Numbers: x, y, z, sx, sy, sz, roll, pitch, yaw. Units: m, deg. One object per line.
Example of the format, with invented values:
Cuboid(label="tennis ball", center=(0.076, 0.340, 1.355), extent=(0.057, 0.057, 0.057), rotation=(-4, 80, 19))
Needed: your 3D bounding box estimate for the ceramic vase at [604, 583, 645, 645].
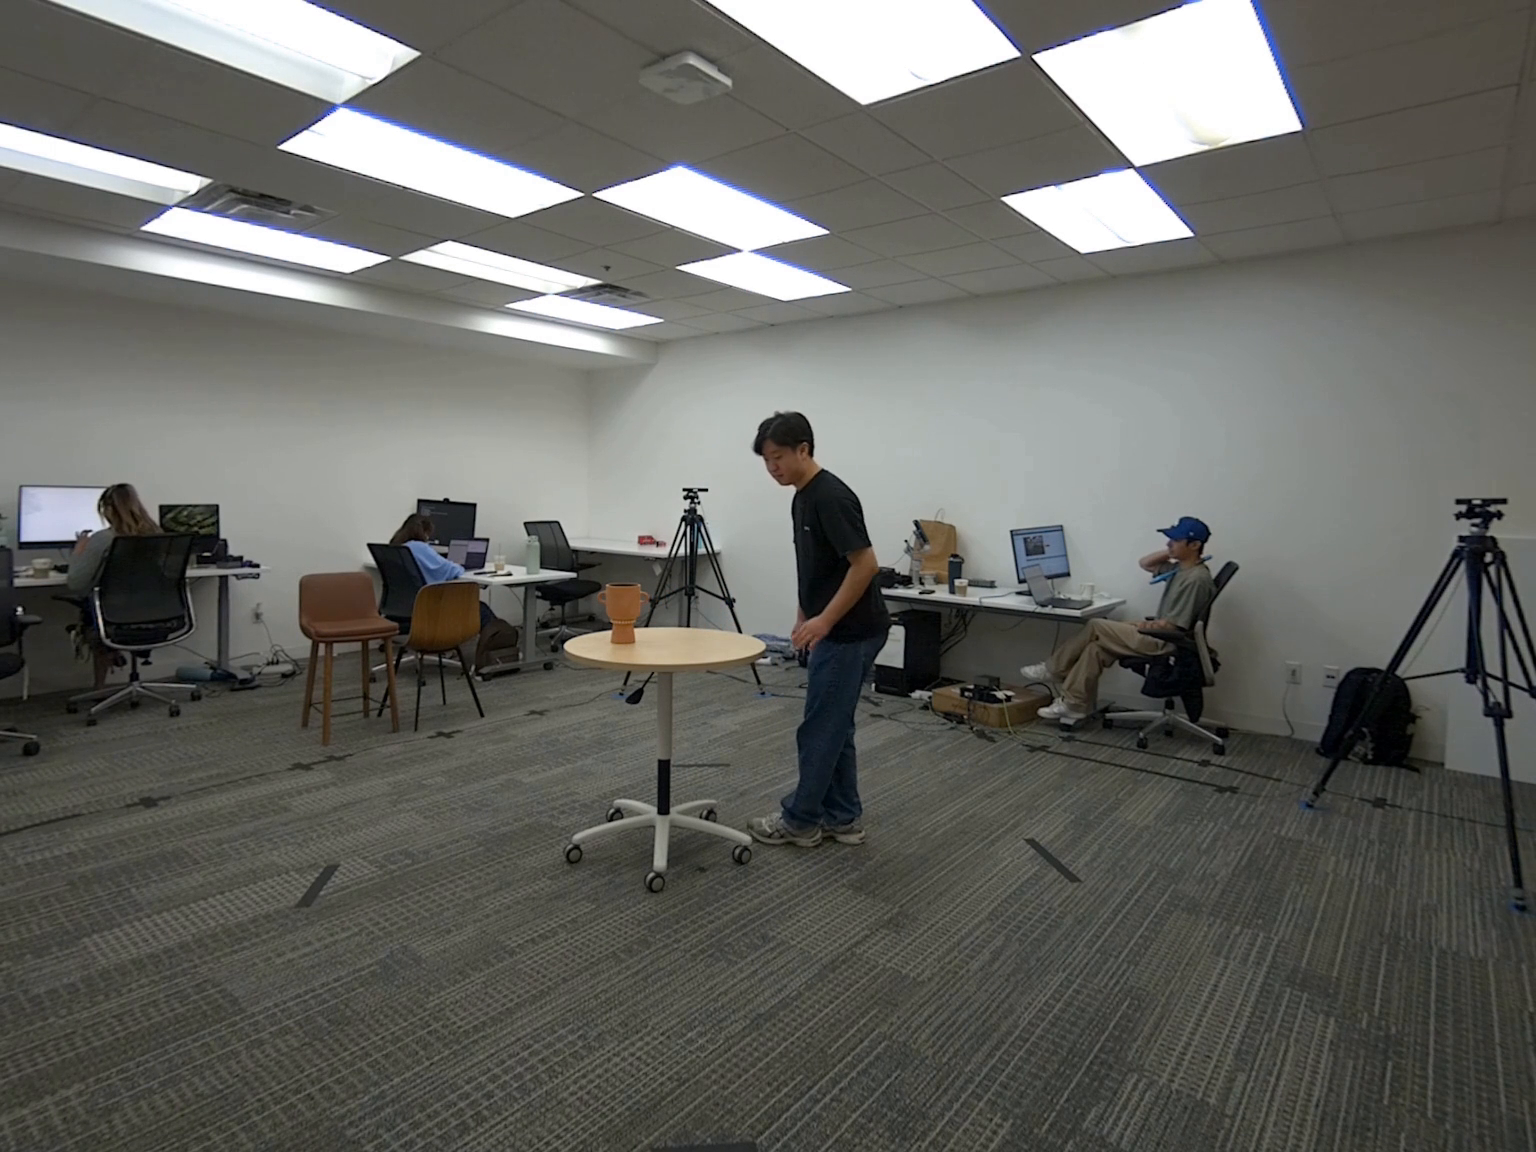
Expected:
Cuboid(label="ceramic vase", center=(-0.572, 0.142, 3.278), extent=(0.164, 0.219, 0.131), rotation=(4, 7, 40))
